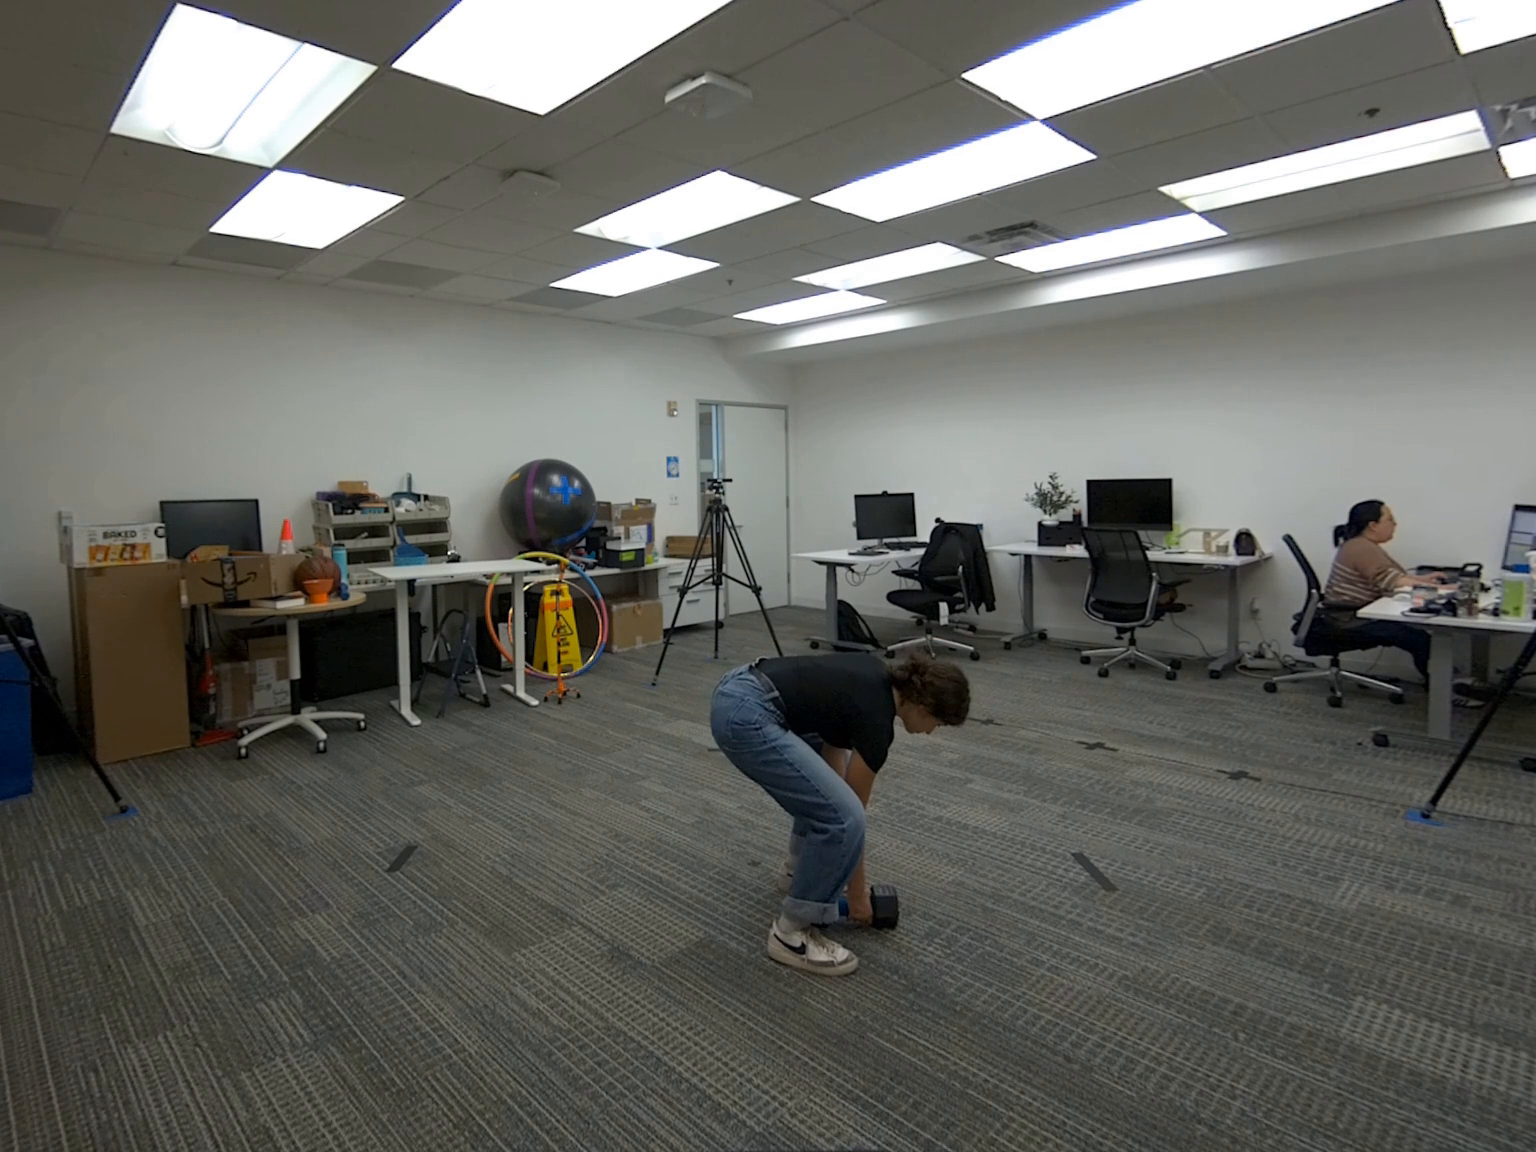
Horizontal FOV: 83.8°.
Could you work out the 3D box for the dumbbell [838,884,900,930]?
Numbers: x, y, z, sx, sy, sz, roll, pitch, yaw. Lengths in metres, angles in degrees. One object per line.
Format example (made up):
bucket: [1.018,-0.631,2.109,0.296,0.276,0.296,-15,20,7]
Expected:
dumbbell: [0.259,1.024,2.675,0.294,0.125,0.106,-1,-21,2]
